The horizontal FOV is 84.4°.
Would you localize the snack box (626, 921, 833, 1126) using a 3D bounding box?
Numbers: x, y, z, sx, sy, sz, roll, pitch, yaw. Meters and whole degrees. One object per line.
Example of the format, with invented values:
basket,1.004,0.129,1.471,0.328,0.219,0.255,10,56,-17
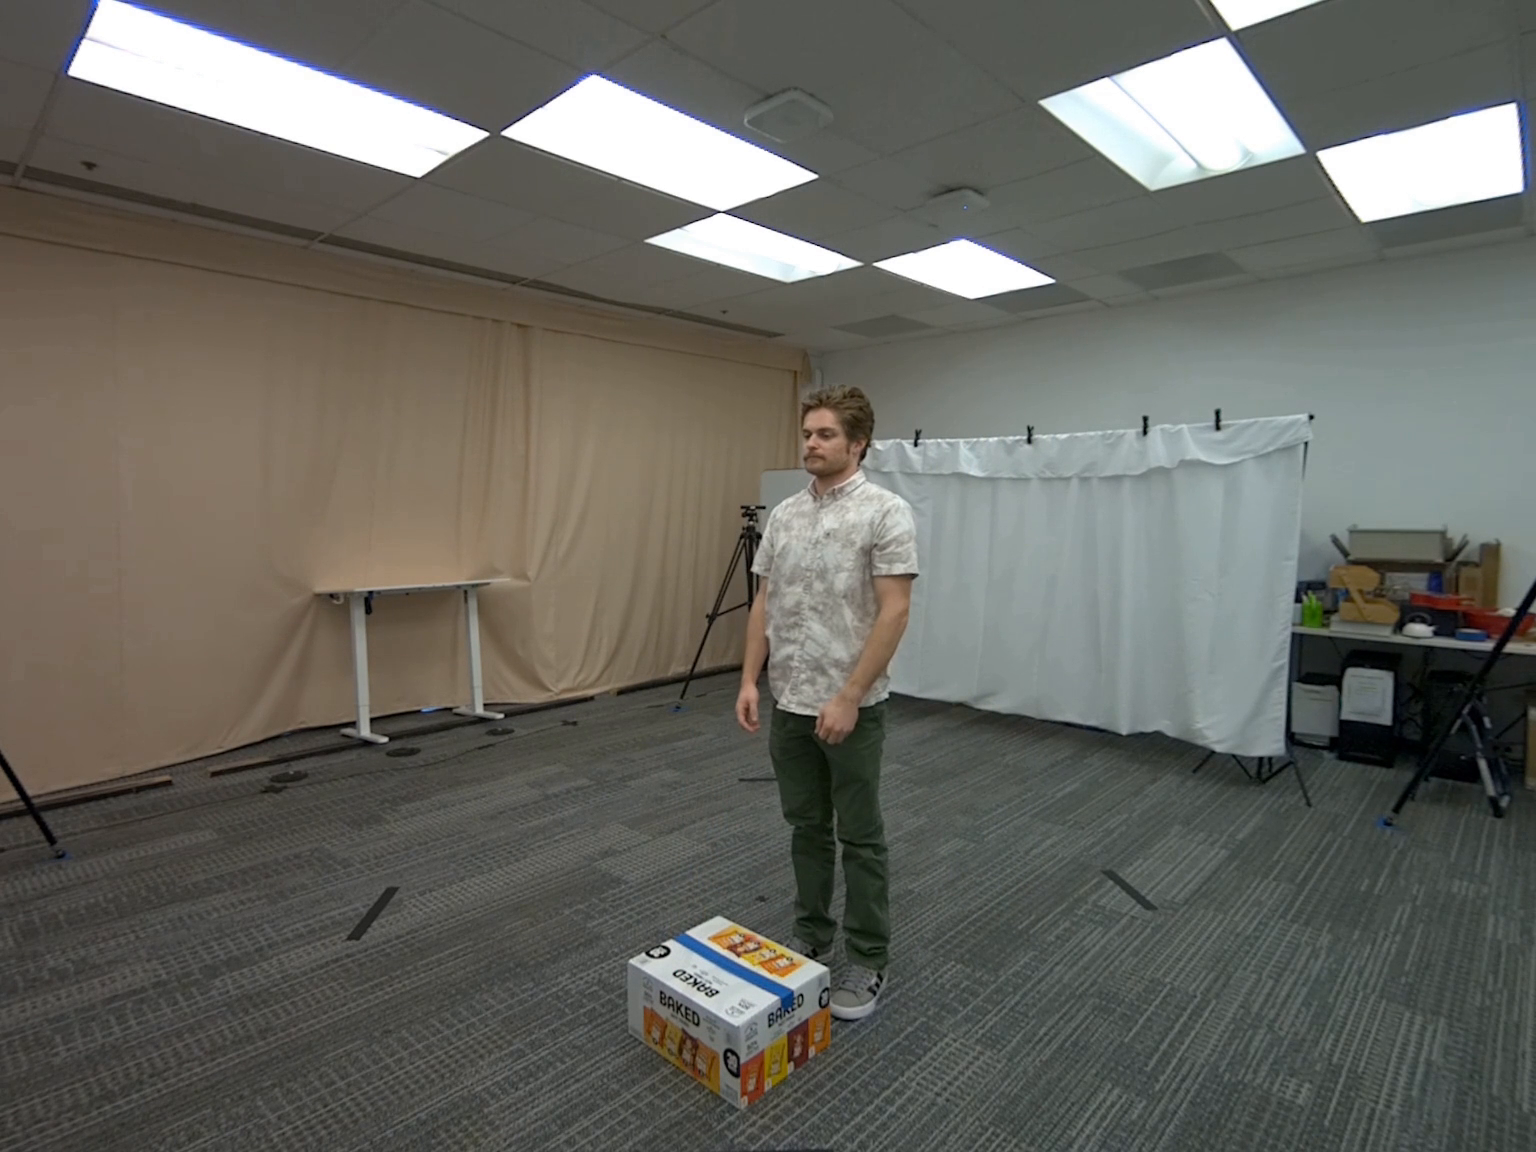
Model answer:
snack box,-0.102,1.115,2.172,0.419,0.205,0.330,4,6,43
